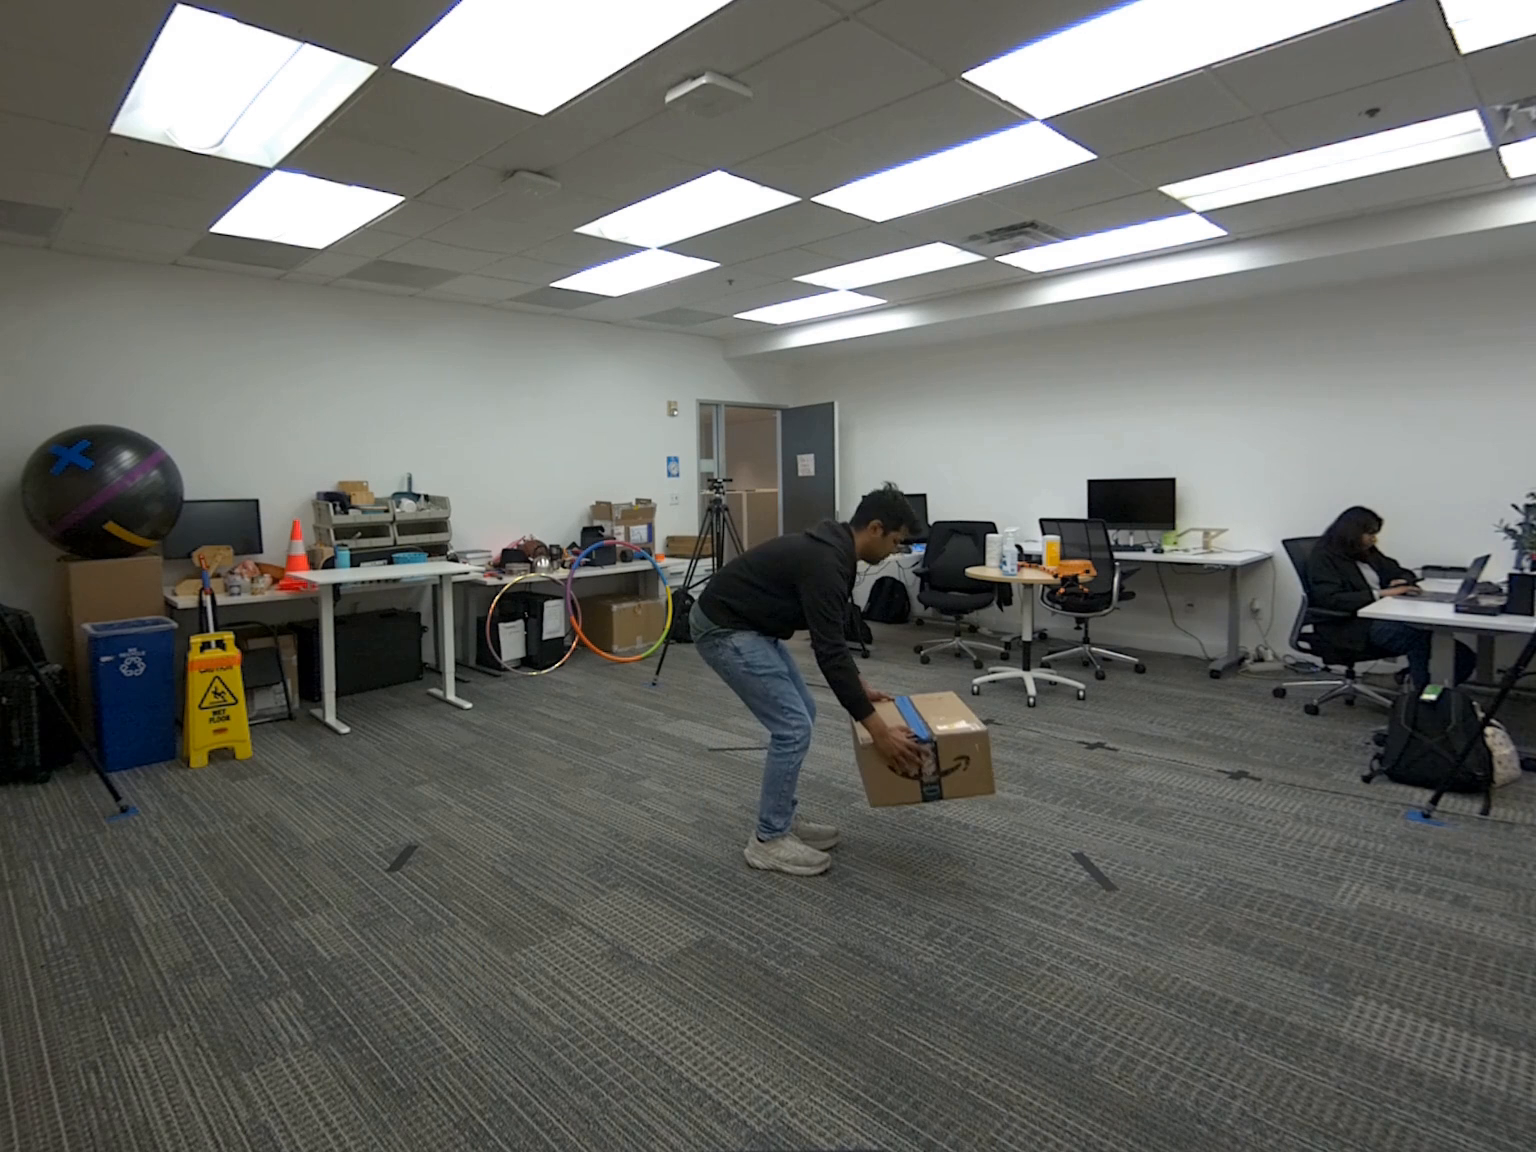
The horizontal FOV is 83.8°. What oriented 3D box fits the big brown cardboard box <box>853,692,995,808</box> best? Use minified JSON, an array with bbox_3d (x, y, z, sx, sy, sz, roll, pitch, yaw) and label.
[{"bbox_3d":[0.528,0.605,3.081,0.418,0.232,0.589,-8,4,2],"label":"big brown cardboard box"}]
